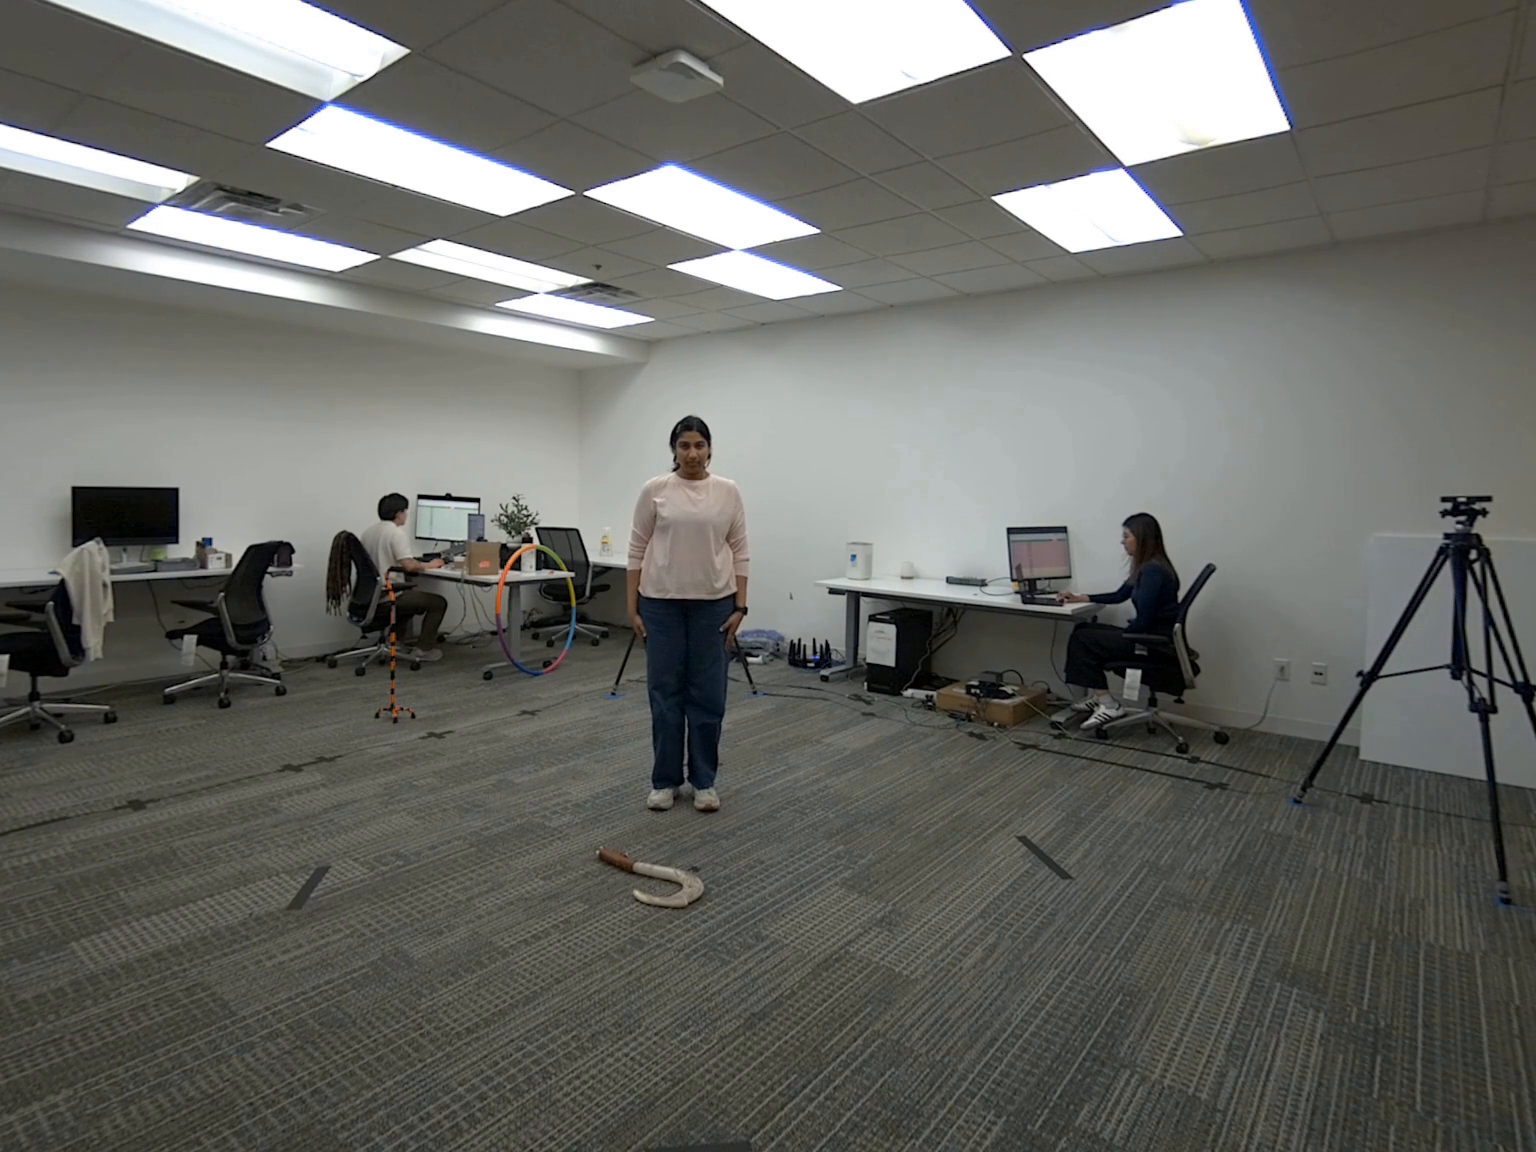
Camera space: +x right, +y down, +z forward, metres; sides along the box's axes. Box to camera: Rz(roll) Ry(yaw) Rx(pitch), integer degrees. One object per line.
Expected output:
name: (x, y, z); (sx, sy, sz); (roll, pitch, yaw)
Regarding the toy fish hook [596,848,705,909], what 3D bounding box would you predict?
toy fish hook: (-0.464, 1.051, 2.987); (0.523, 0.048, 0.218); (4, 5, 35)
